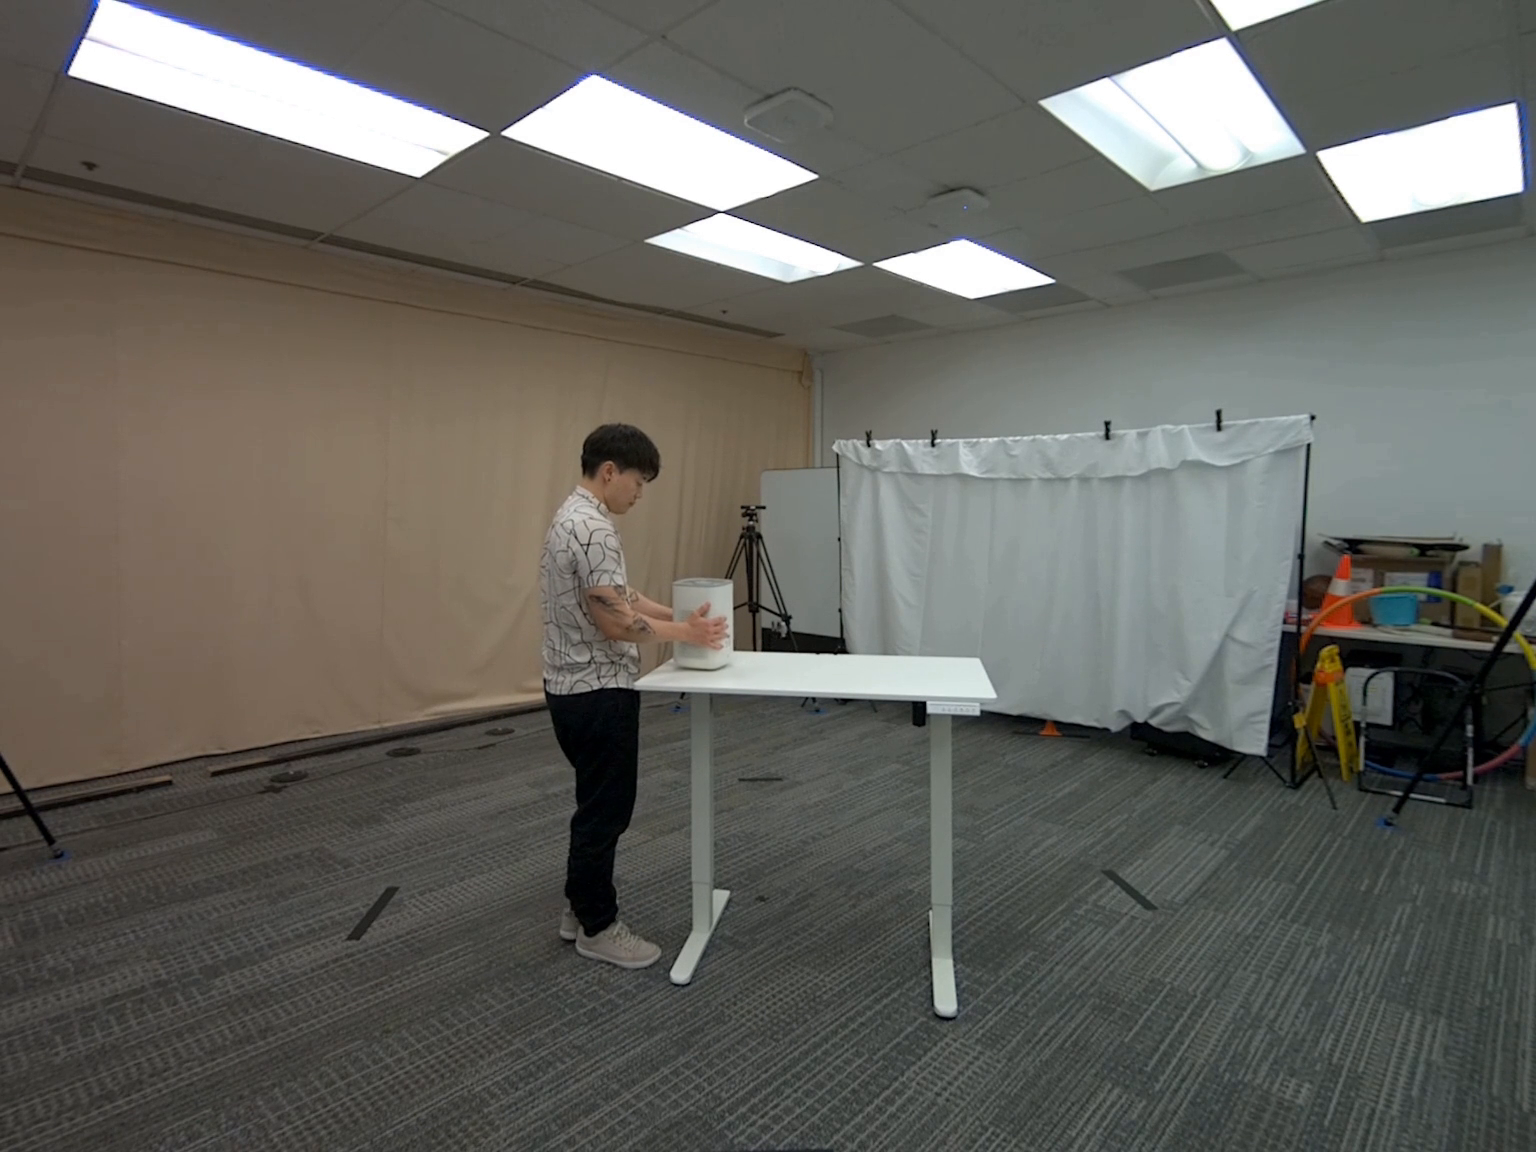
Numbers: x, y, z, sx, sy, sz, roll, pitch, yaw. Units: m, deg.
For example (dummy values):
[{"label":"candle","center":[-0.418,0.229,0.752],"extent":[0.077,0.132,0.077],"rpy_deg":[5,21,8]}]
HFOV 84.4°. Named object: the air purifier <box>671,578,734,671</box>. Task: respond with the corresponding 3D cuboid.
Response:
[{"label":"air purifier","center":[-0.203,0.156,2.652],"extent":[0.175,0.264,0.168],"rpy_deg":[2,8,20]}]
